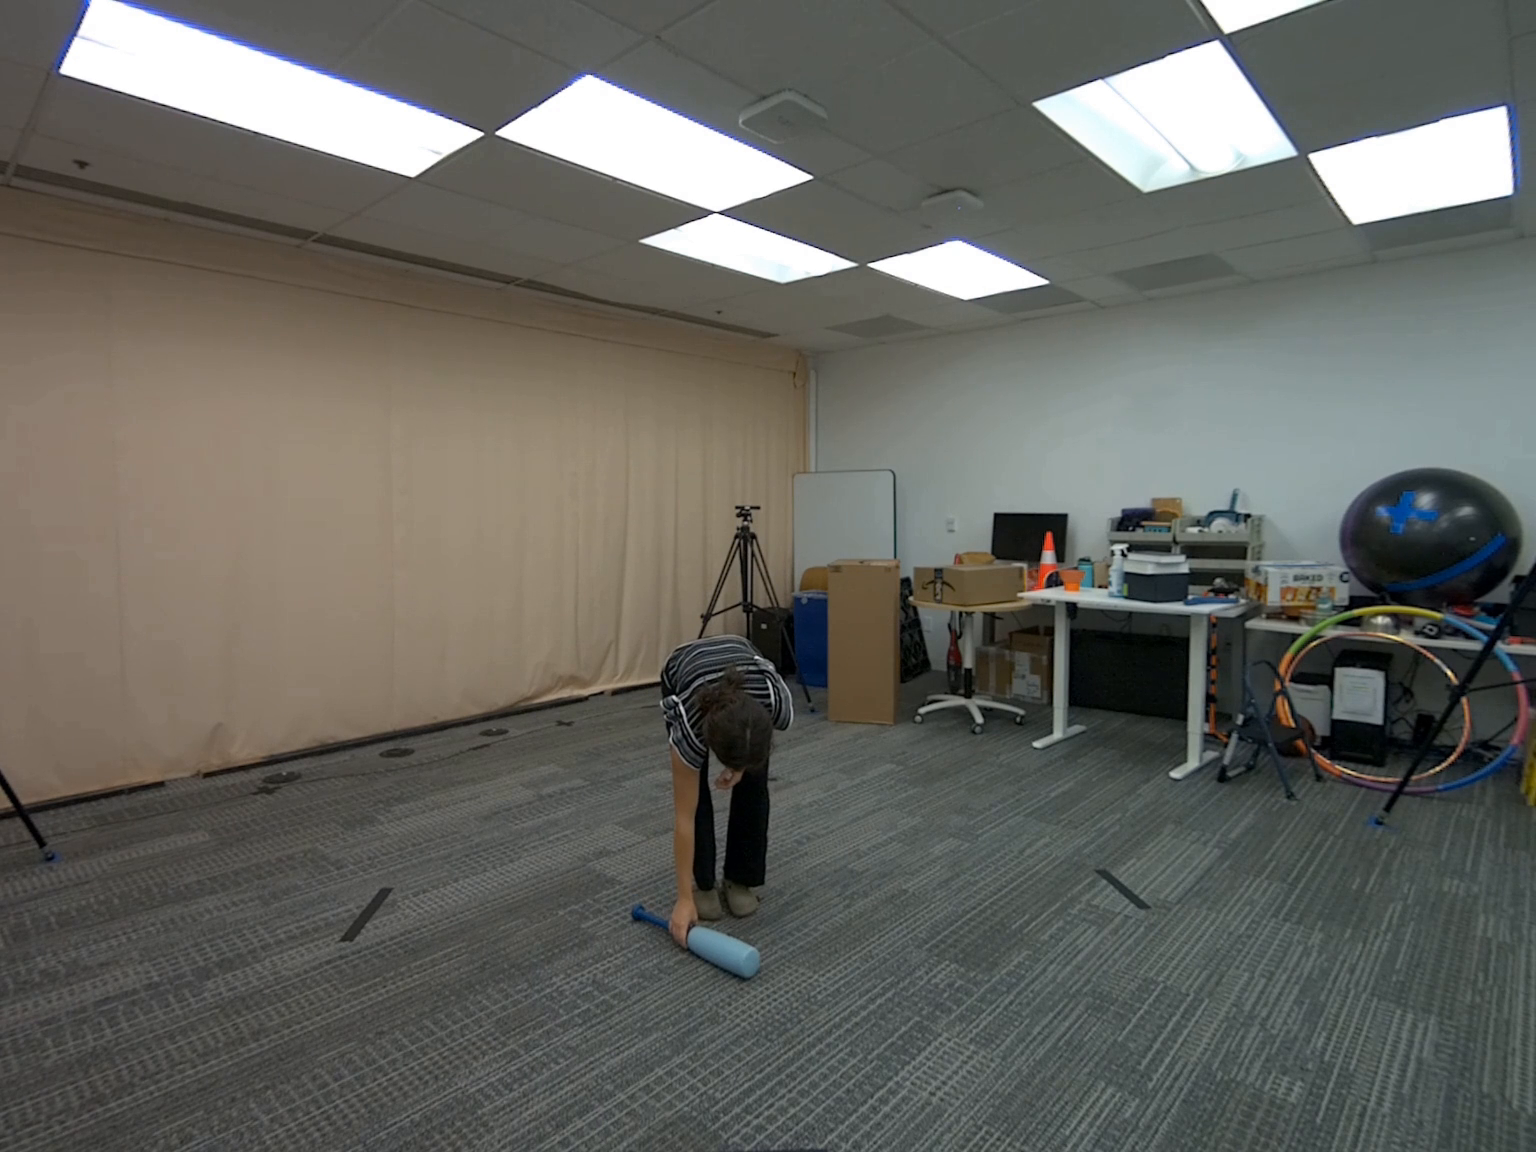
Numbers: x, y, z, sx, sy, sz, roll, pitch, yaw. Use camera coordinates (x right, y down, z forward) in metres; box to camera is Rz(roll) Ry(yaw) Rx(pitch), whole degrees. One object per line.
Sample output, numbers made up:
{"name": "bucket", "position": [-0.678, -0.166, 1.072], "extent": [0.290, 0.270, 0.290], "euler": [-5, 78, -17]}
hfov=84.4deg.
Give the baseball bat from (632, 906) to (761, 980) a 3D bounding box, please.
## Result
{"name": "baseball bat", "position": [-0.242, 1.135, 2.658], "extent": [0.086, 0.089, 0.561], "euler": [-4, 4, -45]}
